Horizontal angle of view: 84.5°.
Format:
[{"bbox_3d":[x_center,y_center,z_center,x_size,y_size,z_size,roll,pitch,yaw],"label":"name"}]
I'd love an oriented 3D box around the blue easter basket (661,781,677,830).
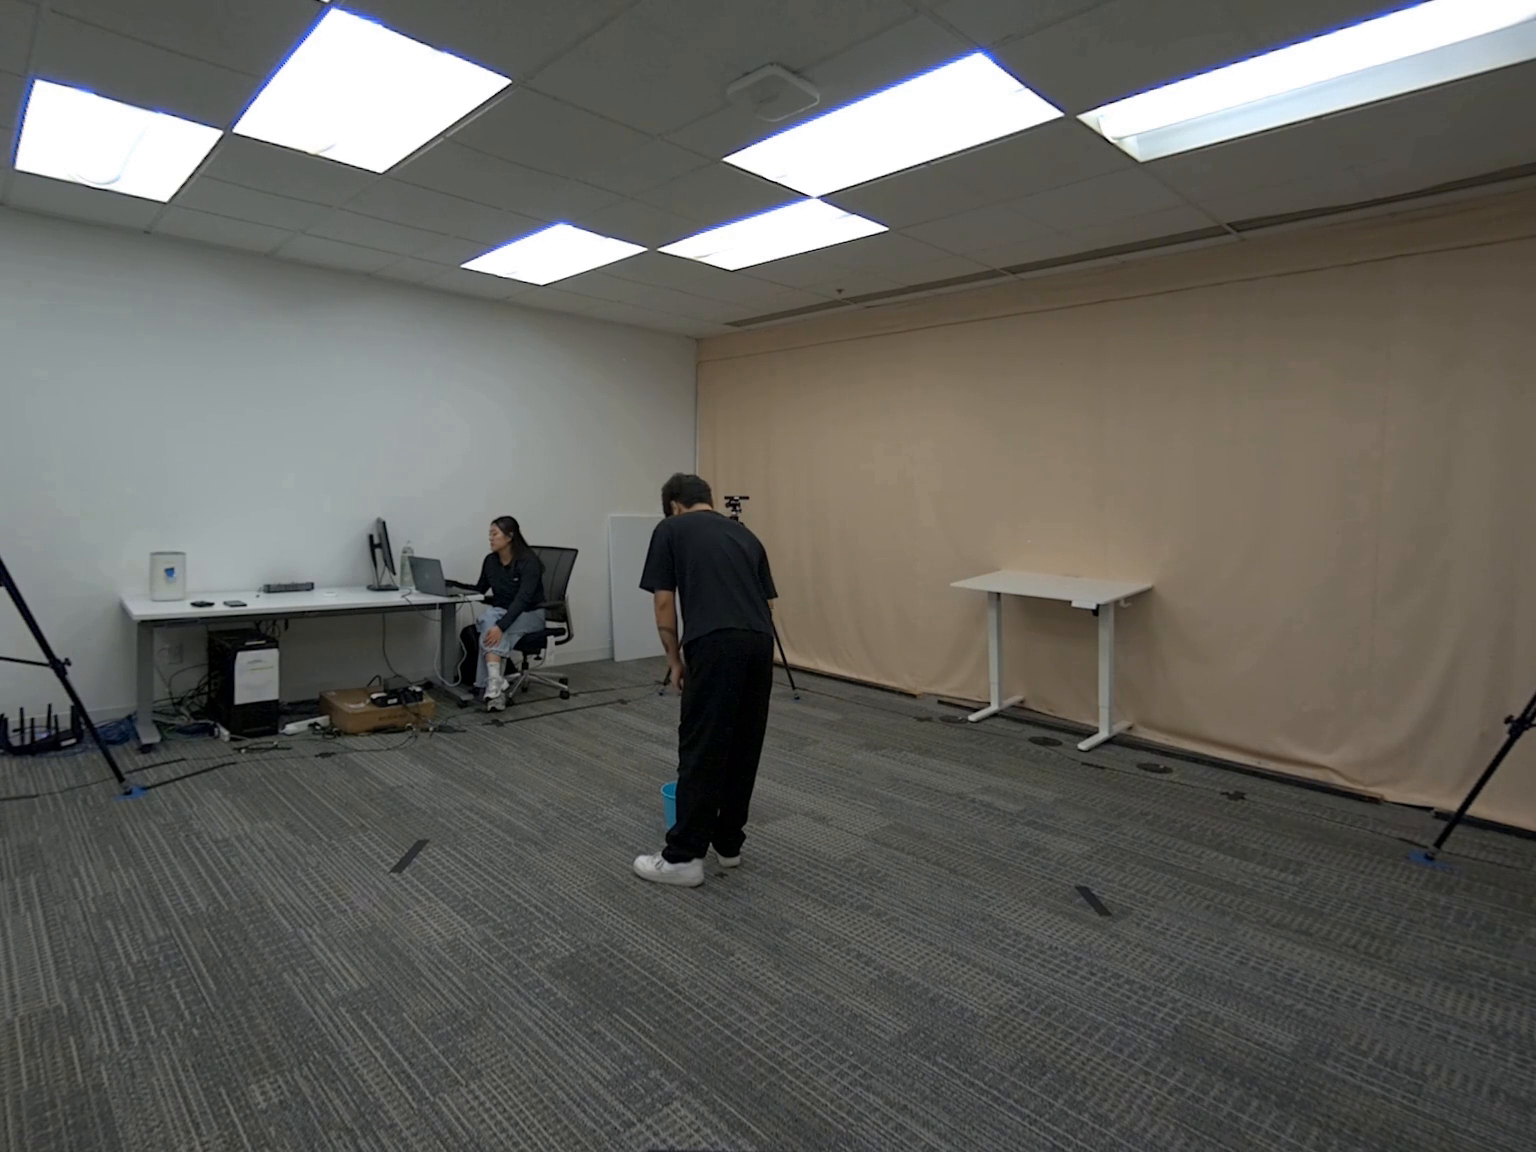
[{"bbox_3d":[-0.339,0.981,3.574,0.243,0.155,0.244,2,5,-2],"label":"blue easter basket"}]
